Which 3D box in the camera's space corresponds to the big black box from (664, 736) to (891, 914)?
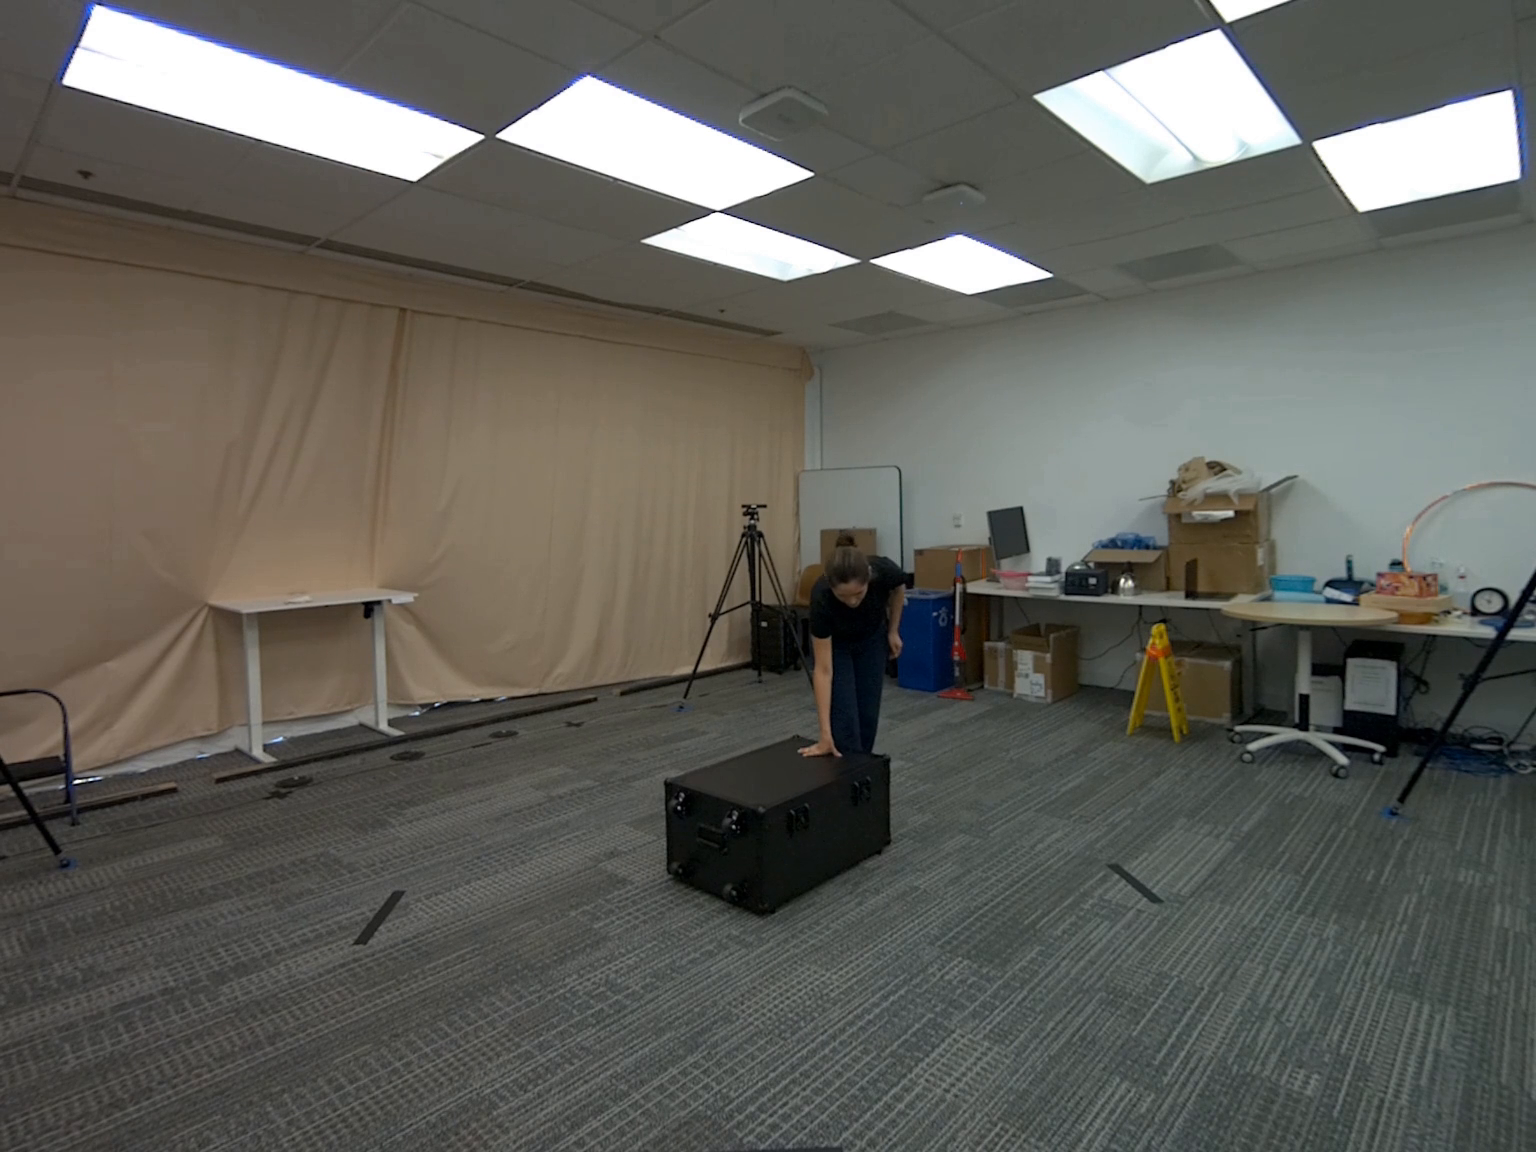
[{"bbox_3d":[0.045,0.912,3.221,0.538,0.395,0.836,3,7,42],"label":"big black box"}]
